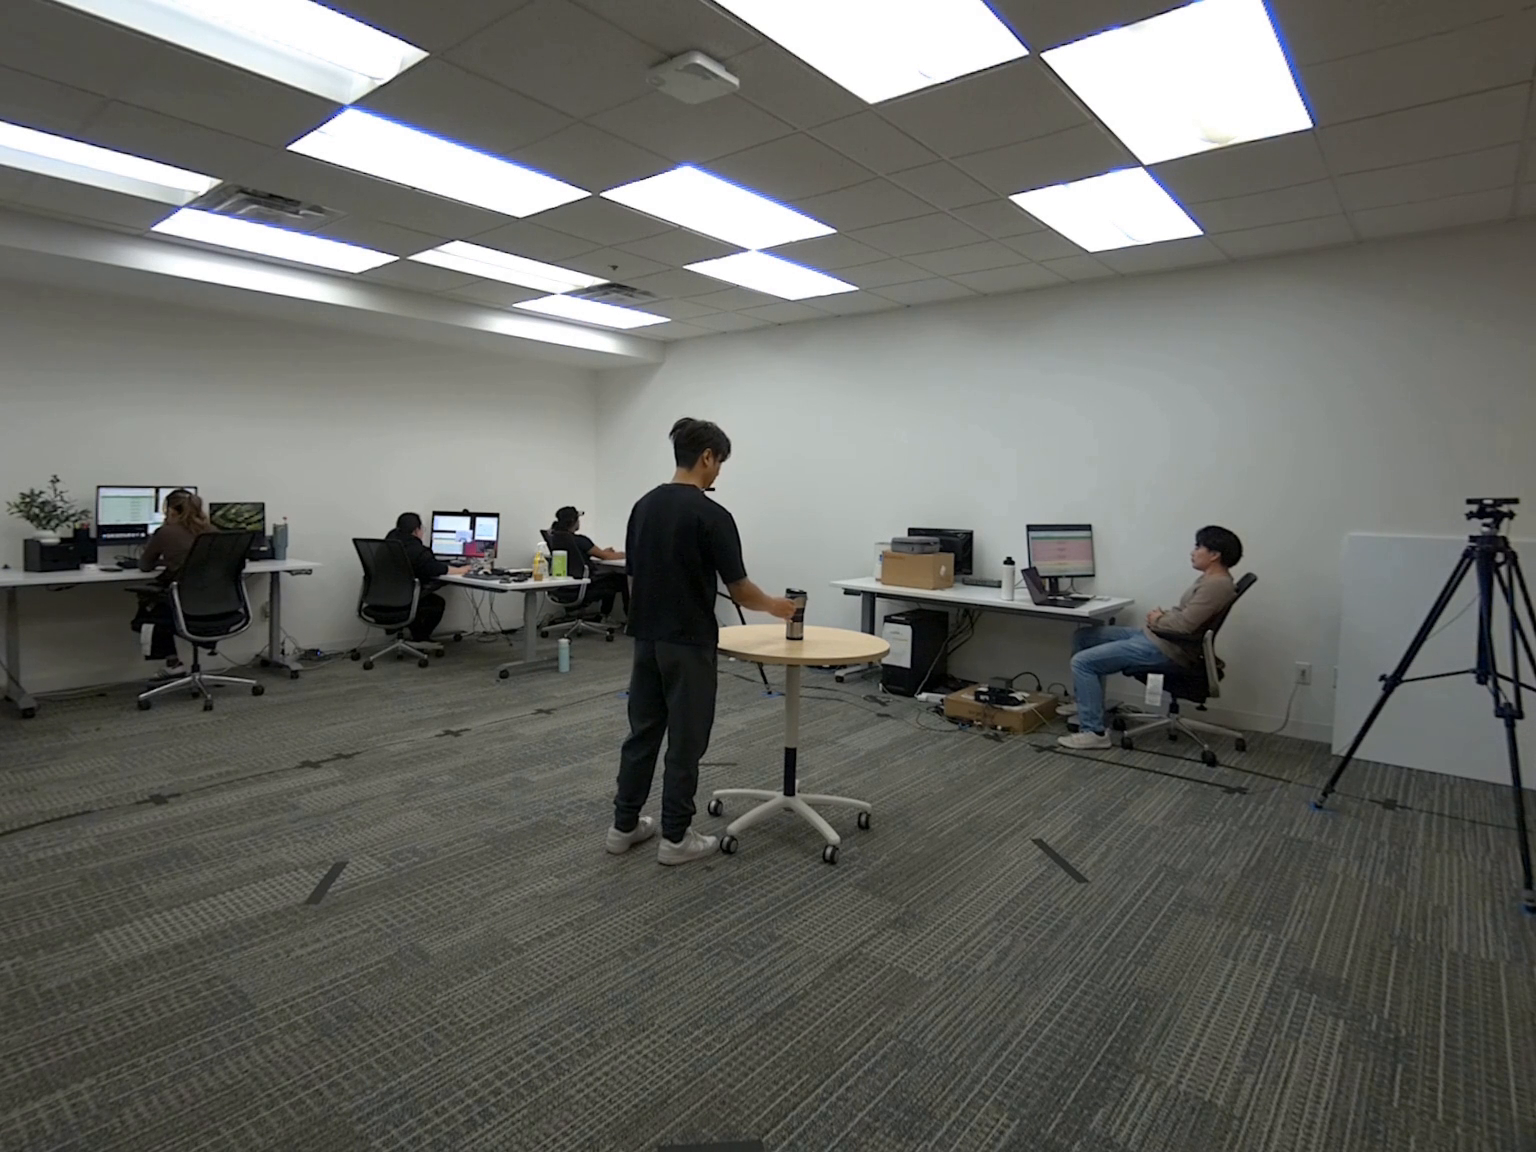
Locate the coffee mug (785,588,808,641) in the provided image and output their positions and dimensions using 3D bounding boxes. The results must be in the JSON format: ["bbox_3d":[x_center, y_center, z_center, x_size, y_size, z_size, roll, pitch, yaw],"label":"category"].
[{"bbox_3d":[0.084,0.156,3.459,0.118,0.202,0.091,2,7,-34],"label":"coffee mug"}]
